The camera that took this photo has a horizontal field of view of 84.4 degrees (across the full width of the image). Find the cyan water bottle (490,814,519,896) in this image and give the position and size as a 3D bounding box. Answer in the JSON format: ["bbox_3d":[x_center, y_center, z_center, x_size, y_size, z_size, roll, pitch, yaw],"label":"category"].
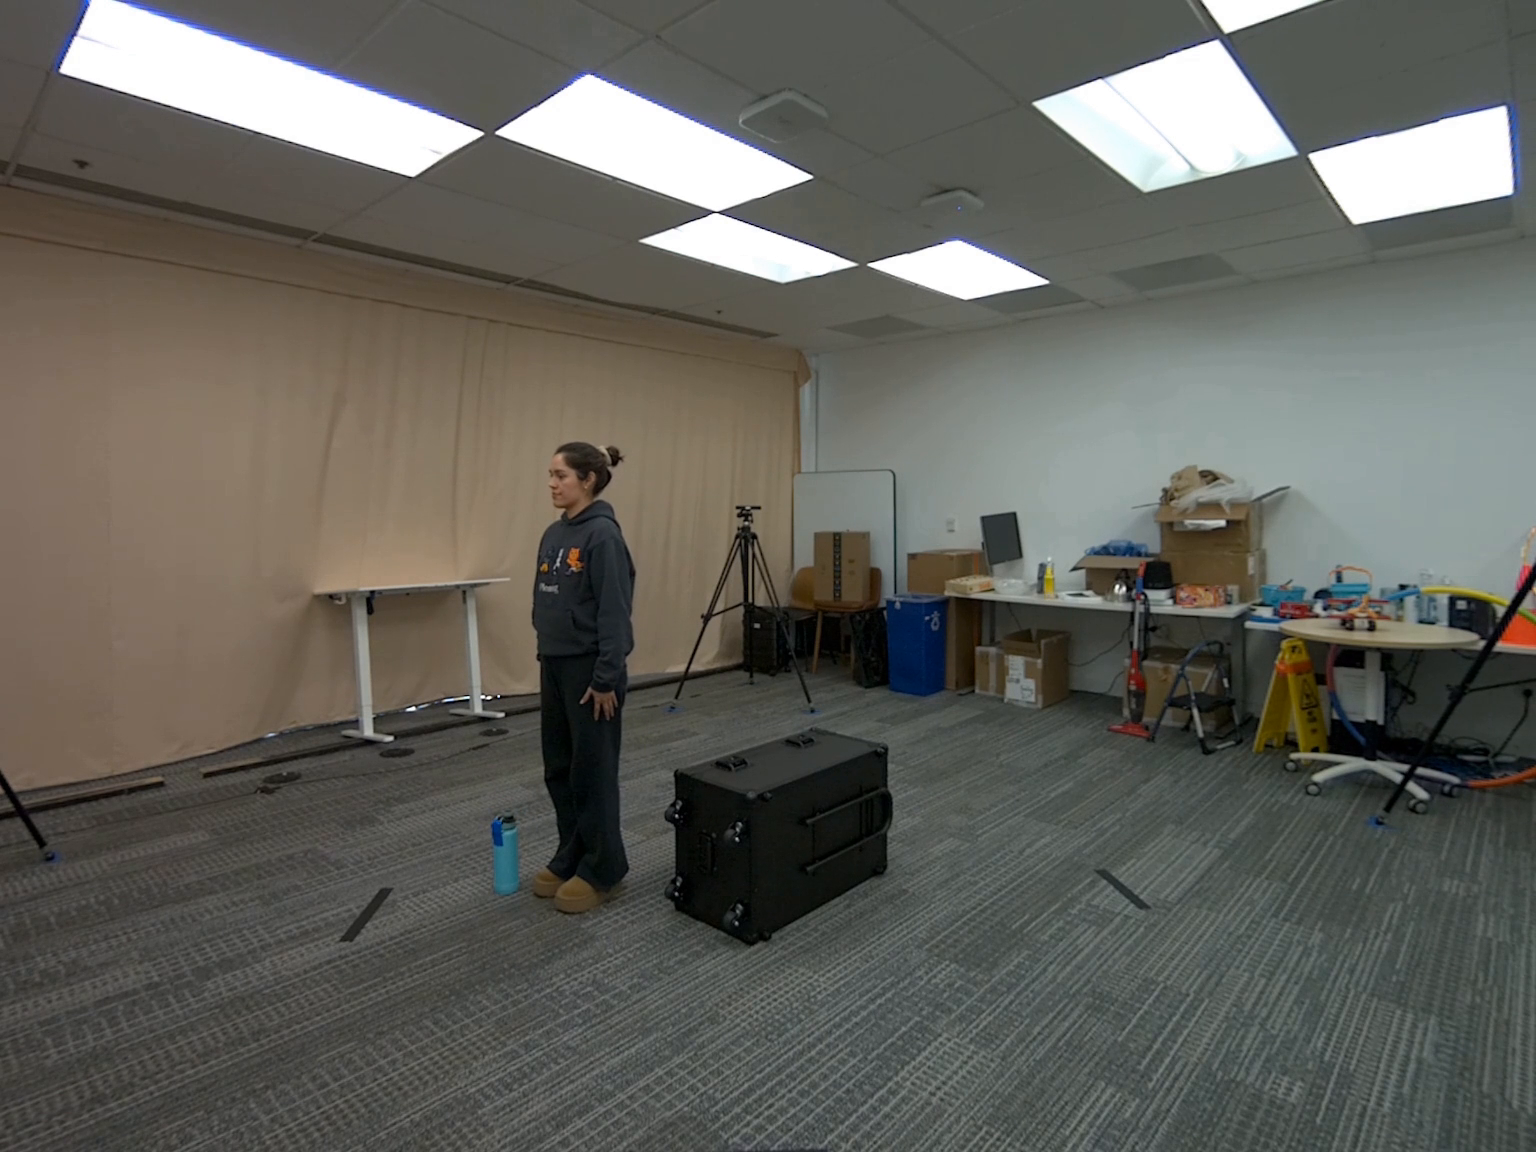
[{"bbox_3d":[-0.943,1.016,3.080,0.092,0.283,0.092,-2,3,-2],"label":"cyan water bottle"}]
